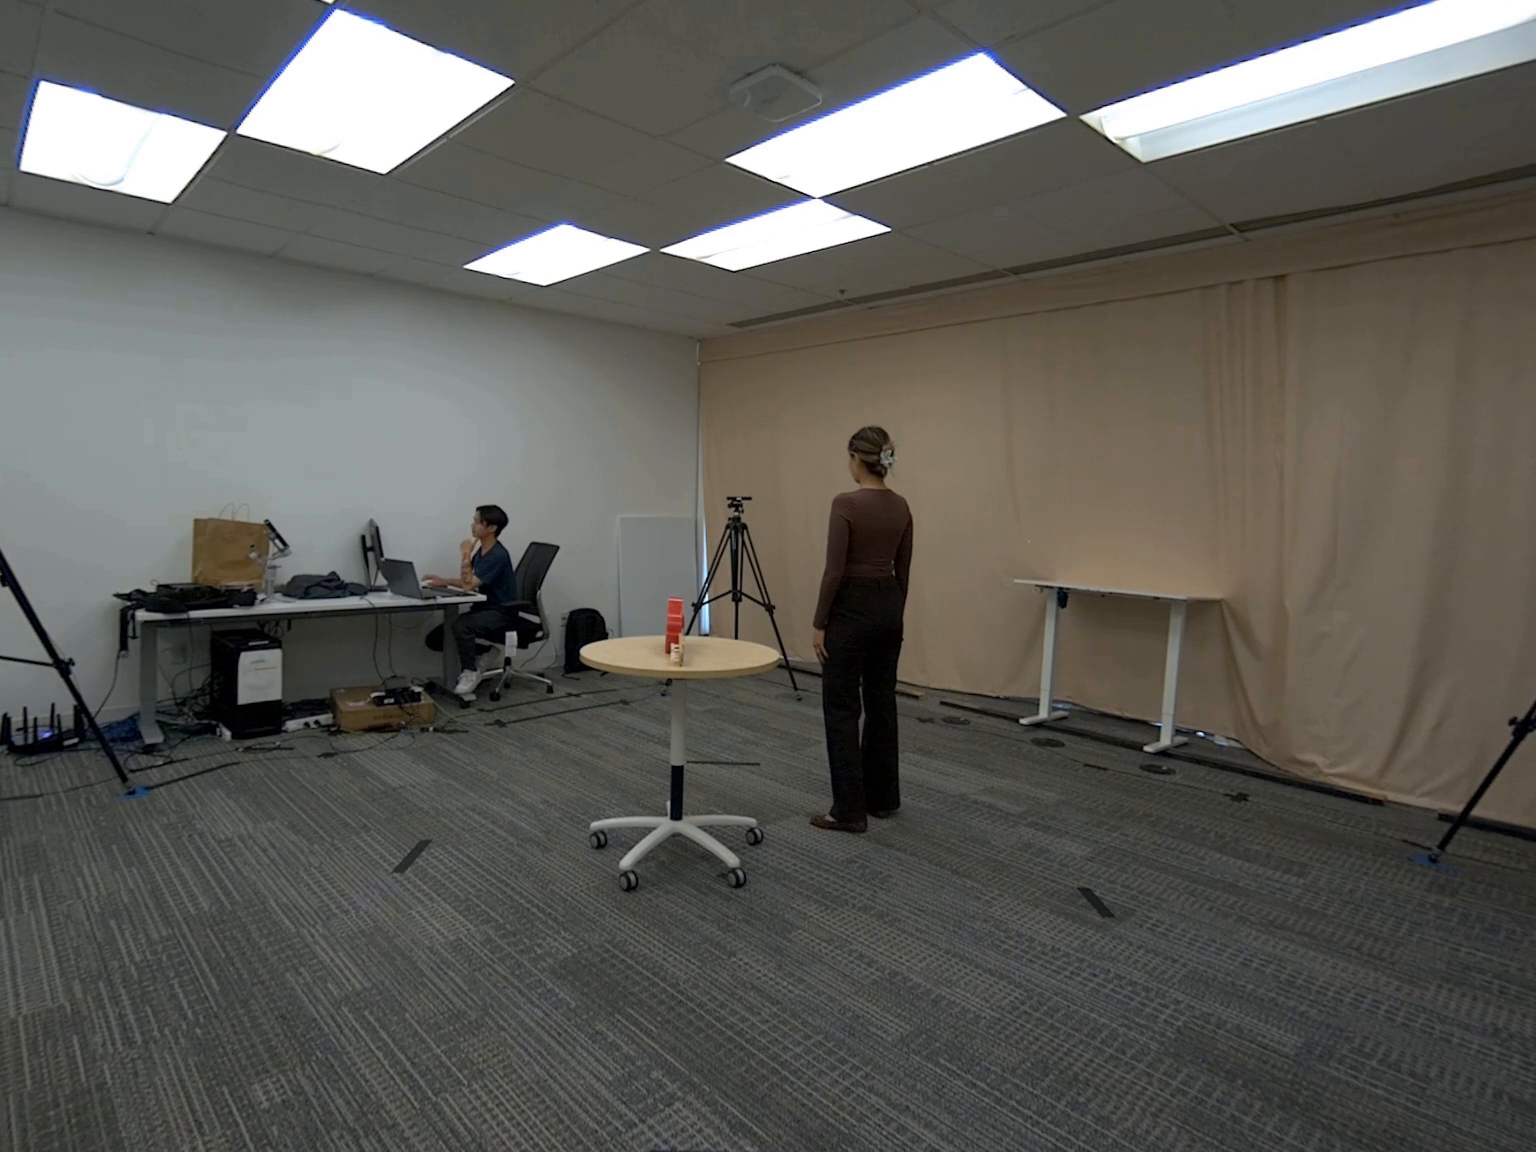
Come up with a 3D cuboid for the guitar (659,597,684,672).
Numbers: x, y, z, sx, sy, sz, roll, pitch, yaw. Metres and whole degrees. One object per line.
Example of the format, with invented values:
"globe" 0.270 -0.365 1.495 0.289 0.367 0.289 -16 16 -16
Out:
"guitar" -0.366 0.208 3.172 0.070 0.192 0.502 4 5 -7
